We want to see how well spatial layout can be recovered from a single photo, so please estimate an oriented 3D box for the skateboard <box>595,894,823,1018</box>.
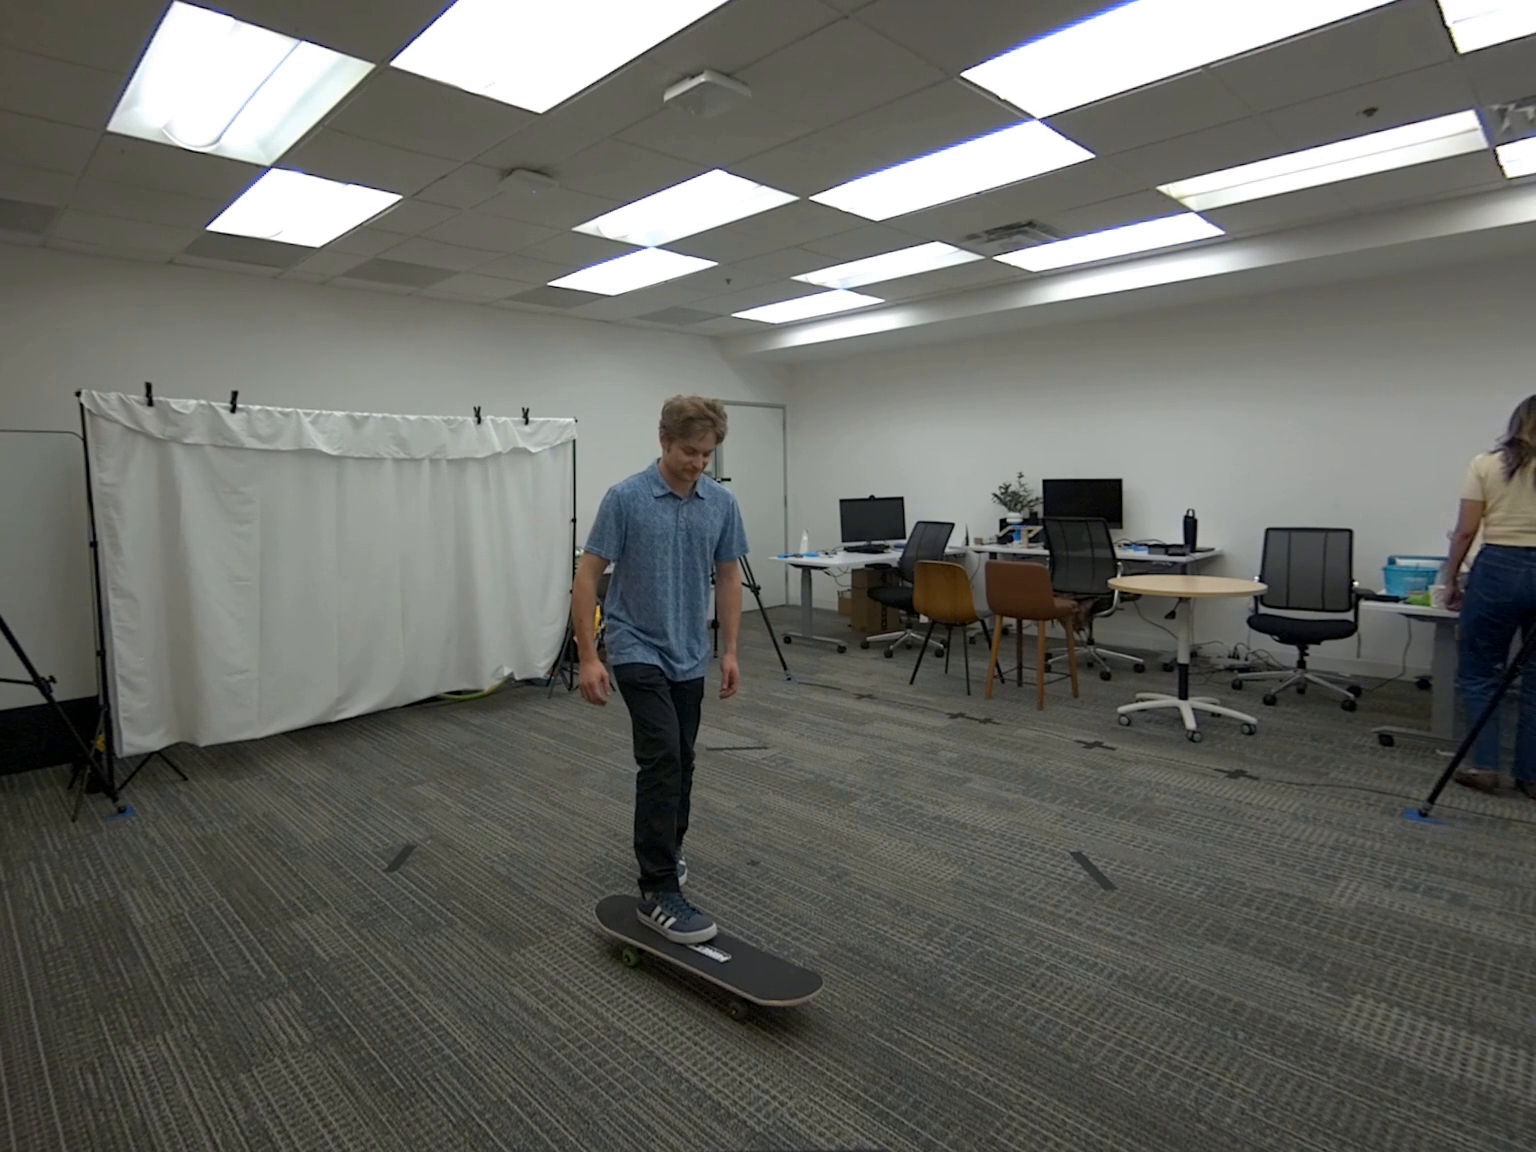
[{"bbox_3d":[-0.190,1.069,2.403,0.809,0.110,0.188,4,7,38],"label":"skateboard"}]
